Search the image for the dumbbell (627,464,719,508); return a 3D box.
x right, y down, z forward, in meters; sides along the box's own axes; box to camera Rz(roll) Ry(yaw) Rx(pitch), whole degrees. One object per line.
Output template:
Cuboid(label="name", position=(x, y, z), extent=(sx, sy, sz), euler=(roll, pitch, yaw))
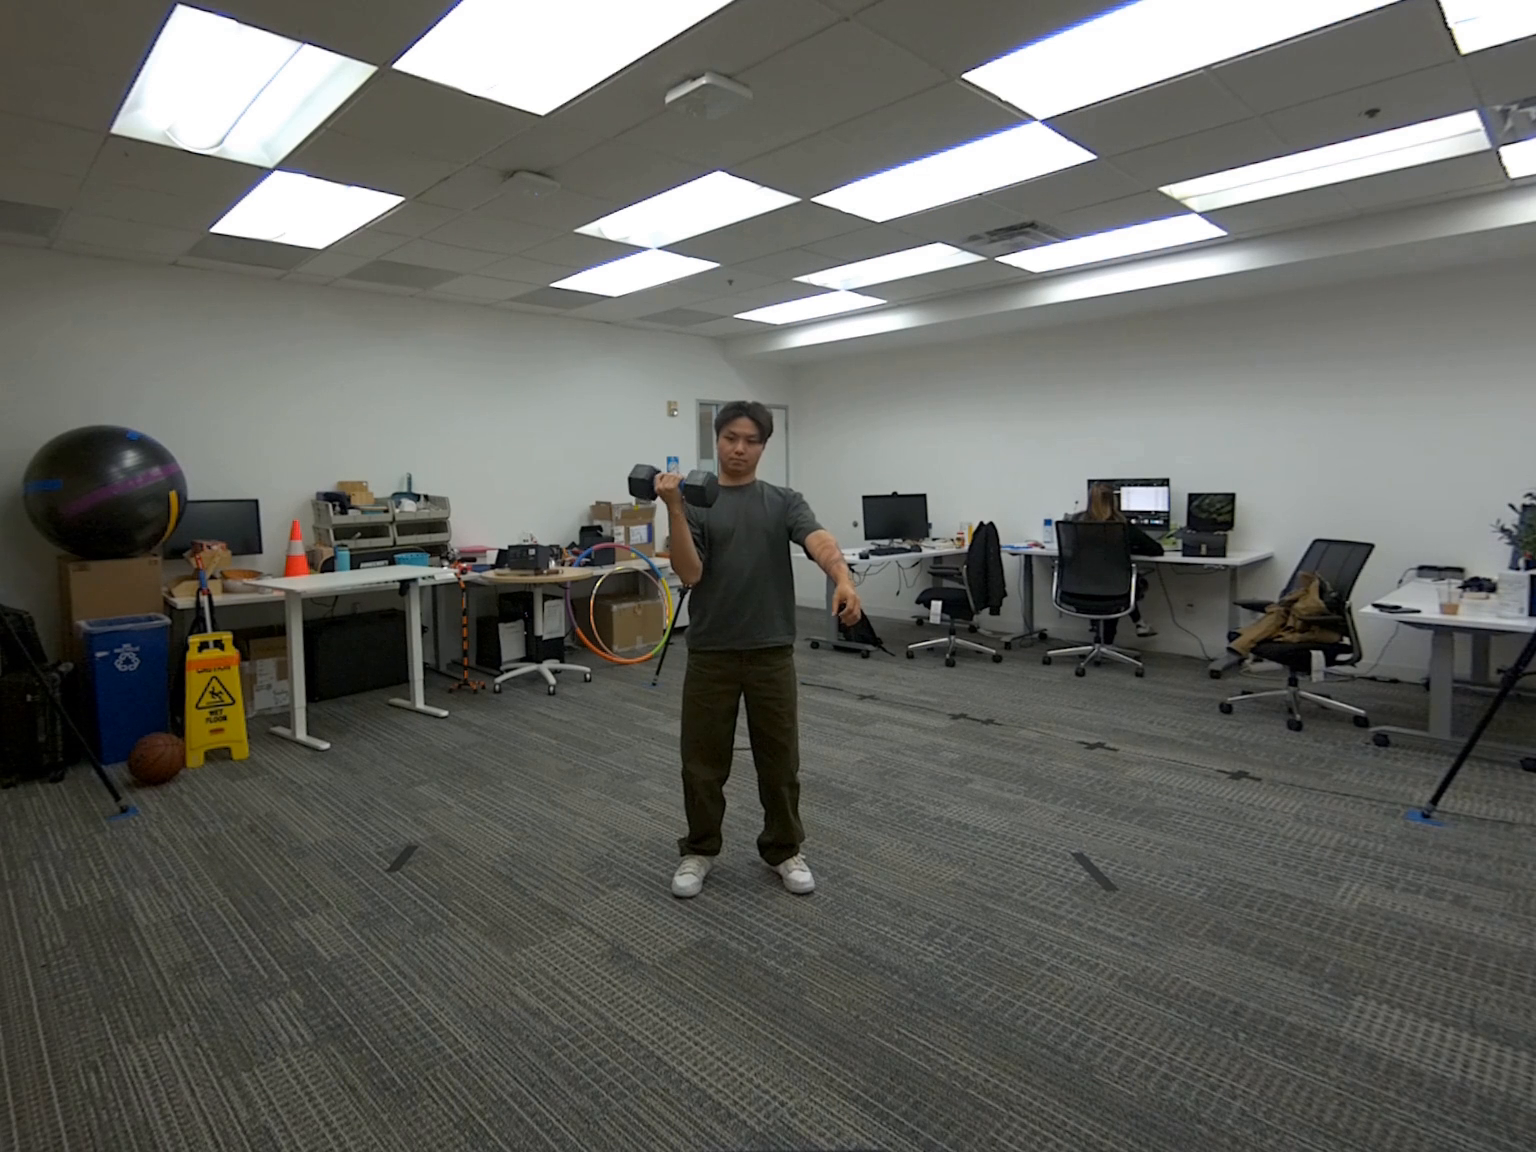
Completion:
Cuboid(label="dumbbell", position=(-0.307, -0.288, 2.751), extent=(0.302, 0.124, 0.105), euler=(10, -35, 27))
